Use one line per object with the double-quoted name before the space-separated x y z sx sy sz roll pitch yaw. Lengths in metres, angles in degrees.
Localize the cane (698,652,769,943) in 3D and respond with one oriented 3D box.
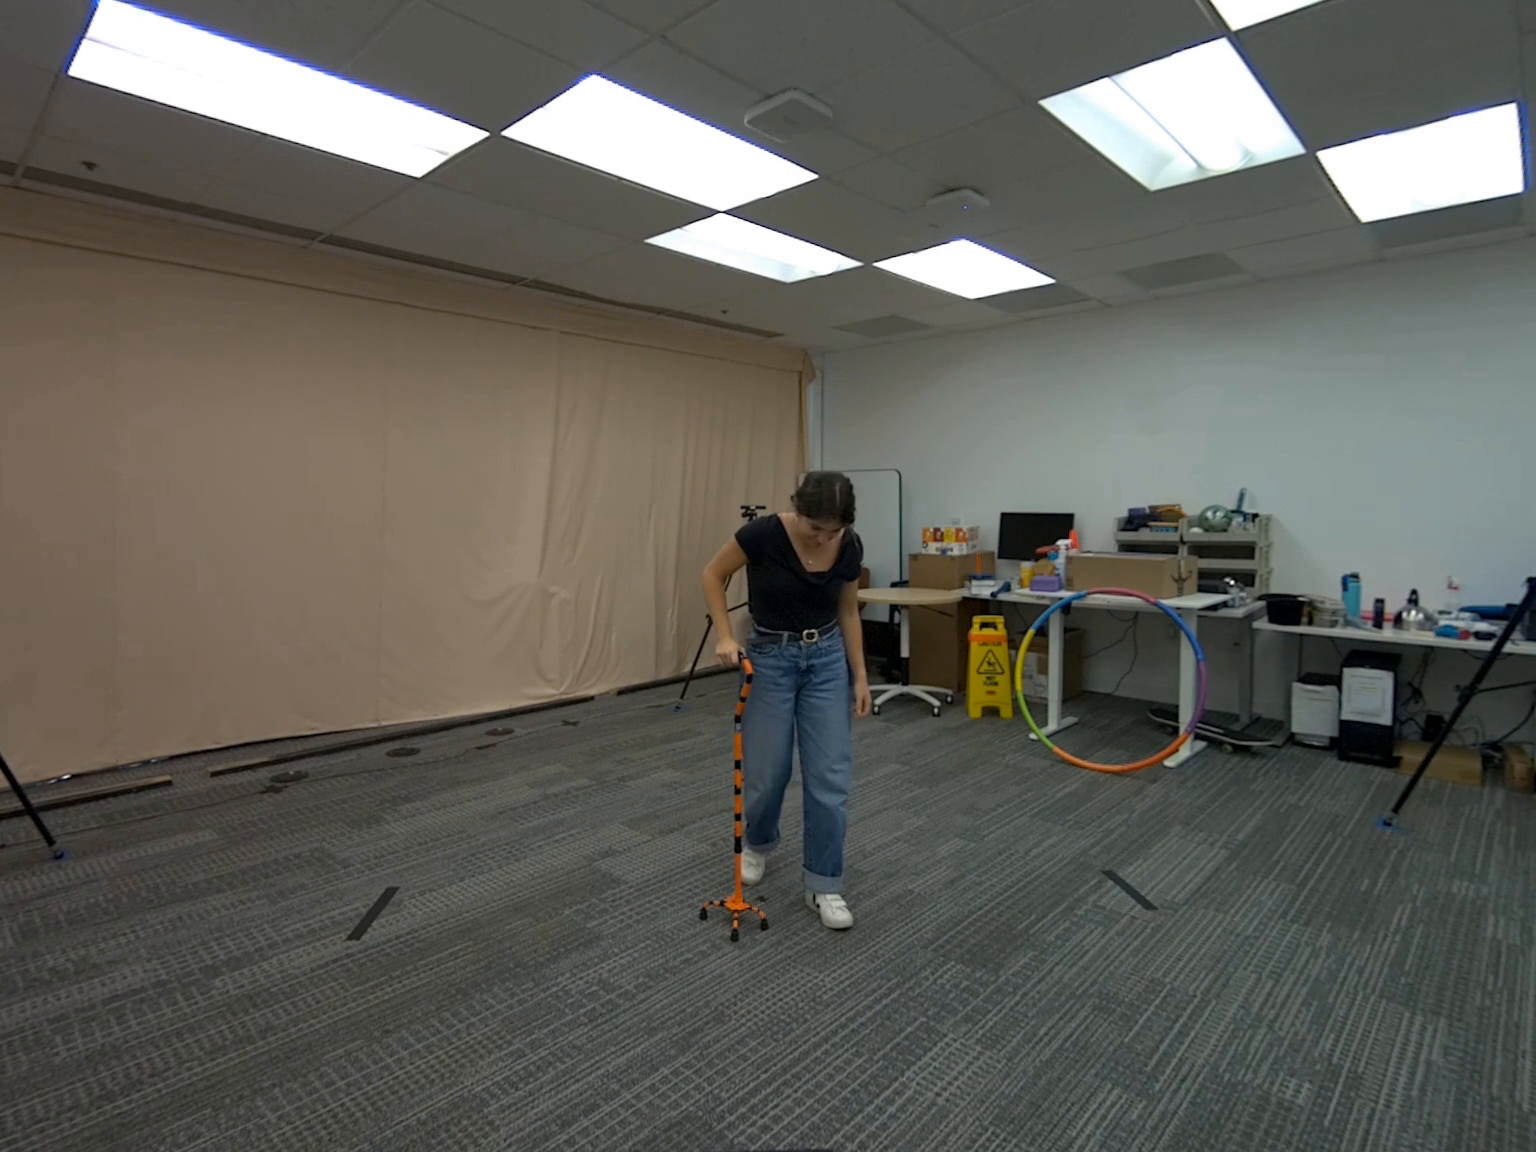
"cane" -0.112 0.710 2.780 0.147 0.905 0.213 -3 5 -39
